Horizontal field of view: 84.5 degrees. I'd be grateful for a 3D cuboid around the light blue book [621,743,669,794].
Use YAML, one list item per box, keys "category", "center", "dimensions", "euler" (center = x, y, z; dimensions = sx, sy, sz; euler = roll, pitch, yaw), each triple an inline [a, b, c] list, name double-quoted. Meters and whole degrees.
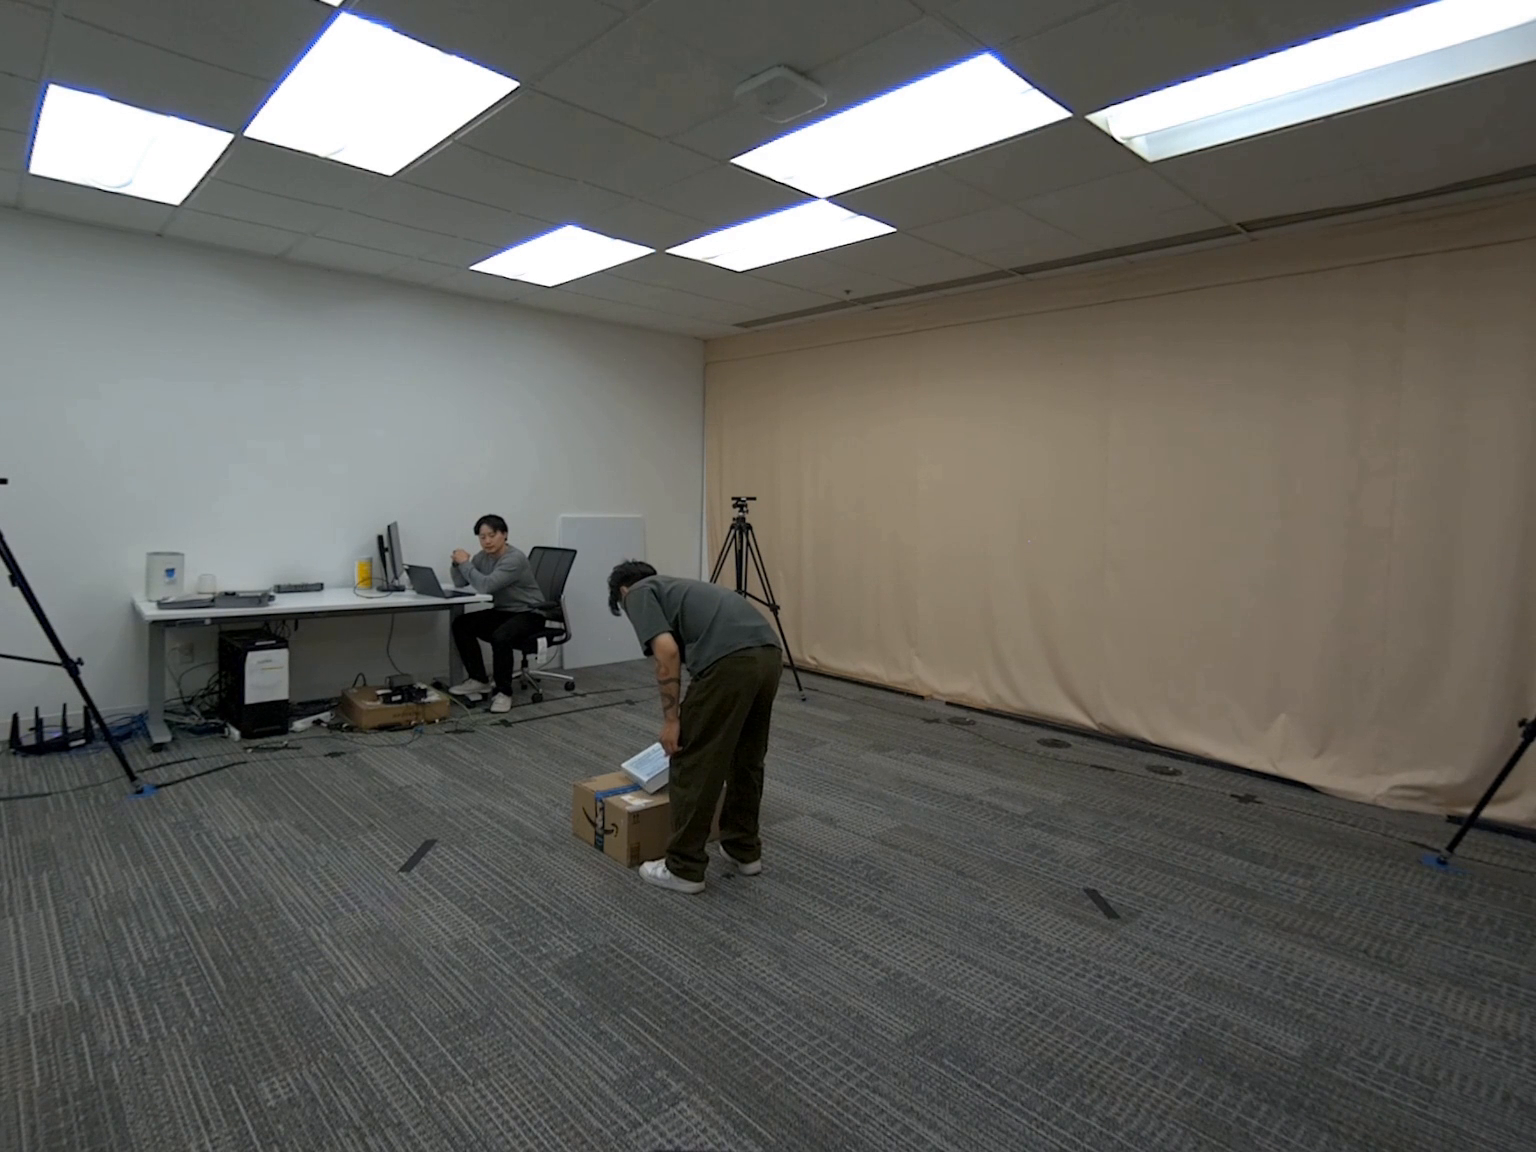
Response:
- category: "light blue book"
  center: [-0.477, 0.783, 3.462]
  dimensions: [0.190, 0.058, 0.266]
  euler: [-28, 16, -24]
